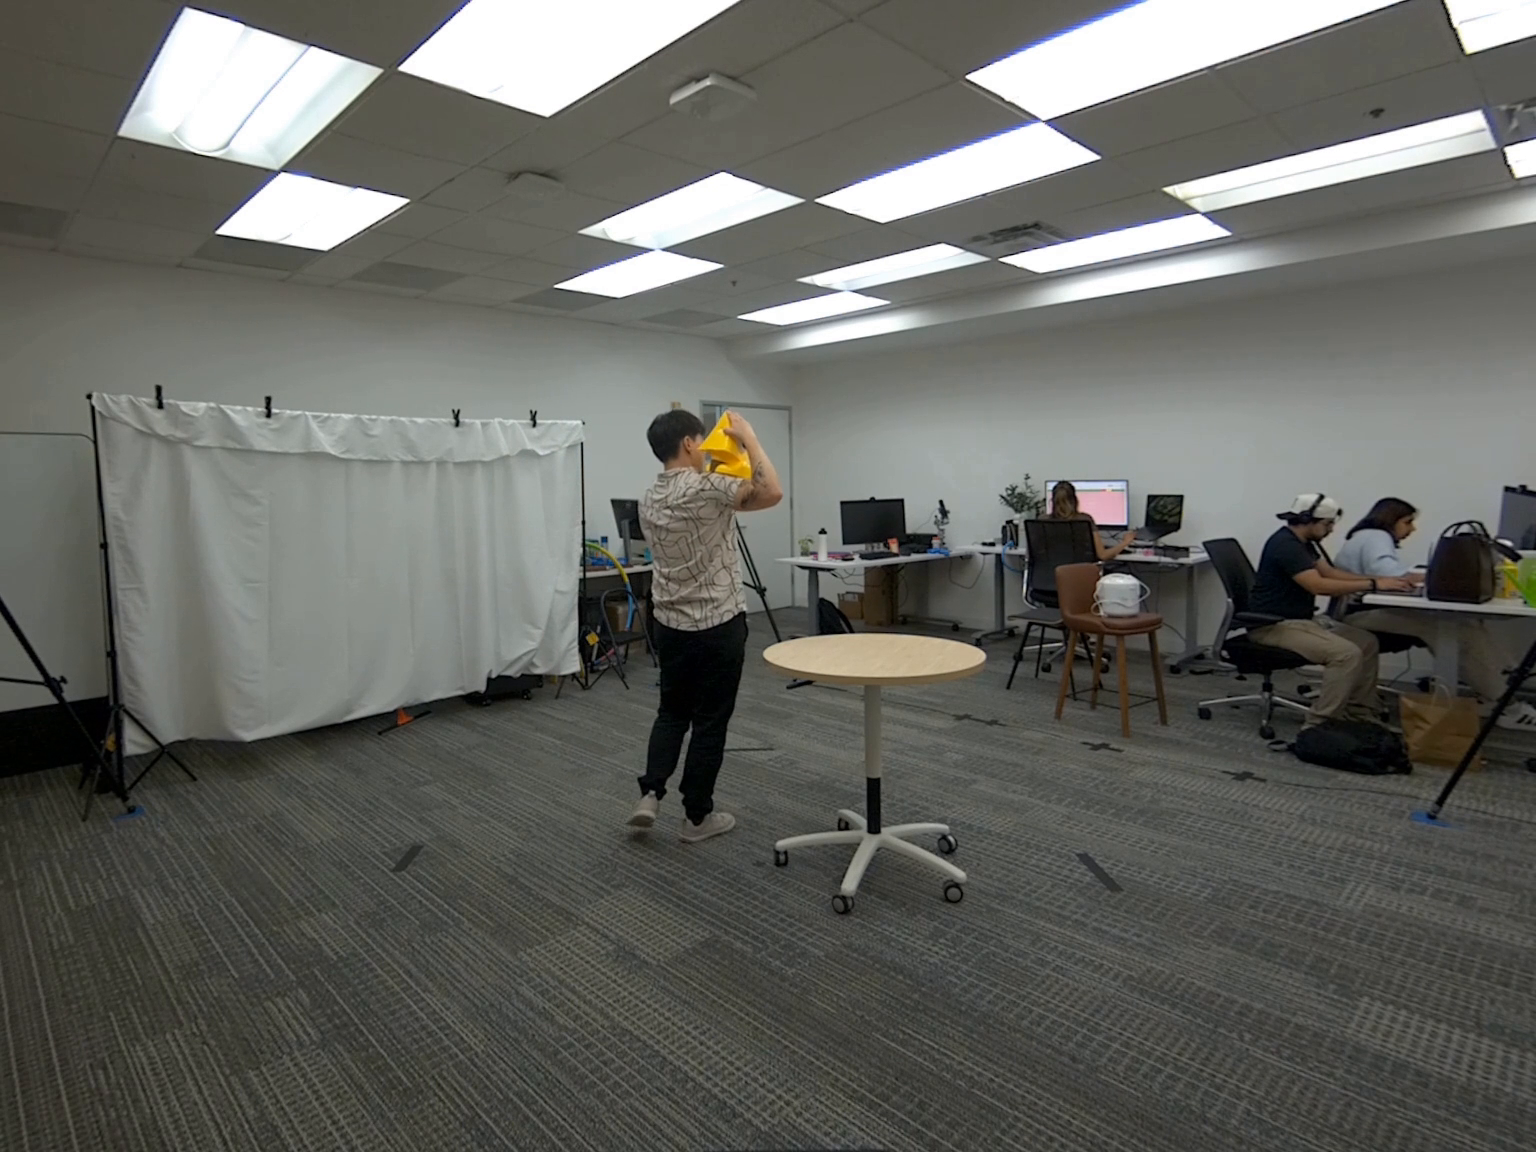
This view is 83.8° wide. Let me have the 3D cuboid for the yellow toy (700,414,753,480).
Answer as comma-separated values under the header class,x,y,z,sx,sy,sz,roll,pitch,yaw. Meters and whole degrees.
class,x,y,z,sx,sy,sz,roll,pitch,yaw
yellow toy,-0.131,-0.494,3.219,0.188,0.230,0.211,9,1,-30
